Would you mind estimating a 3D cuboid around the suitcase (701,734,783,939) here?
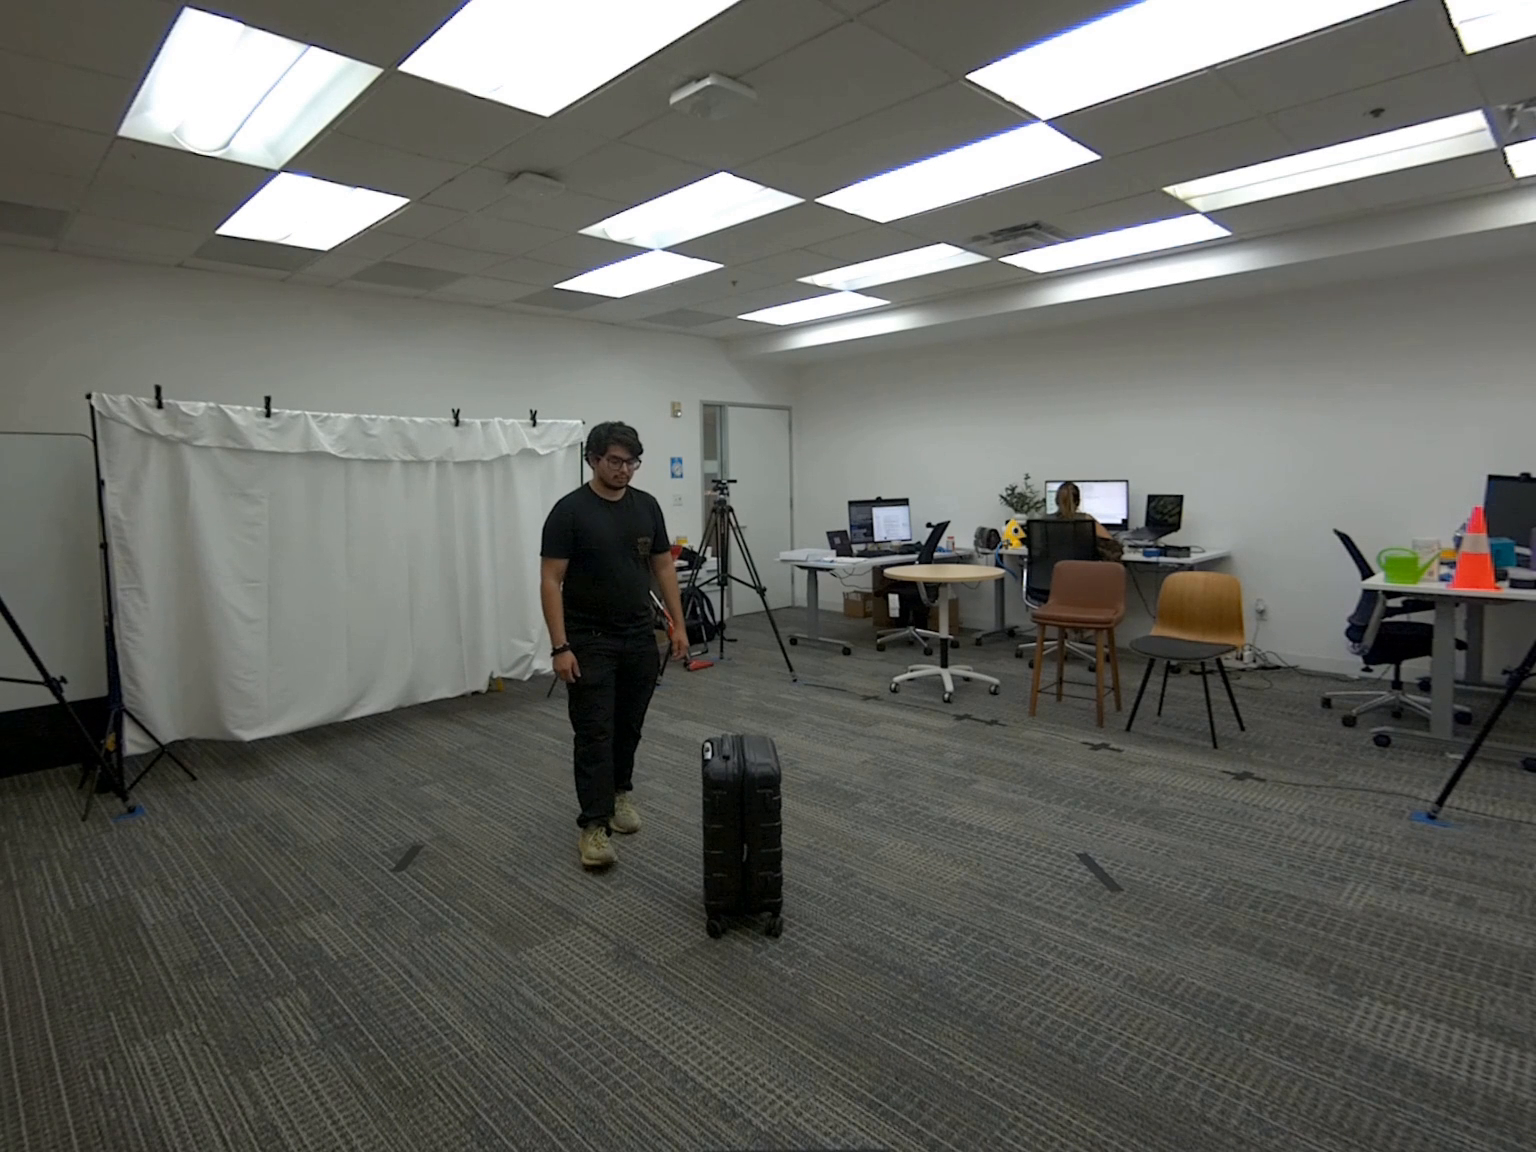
[{"bbox_3d":[-0.088,0.811,2.768,0.247,0.548,0.378,-1,4,-5],"label":"suitcase"}]
